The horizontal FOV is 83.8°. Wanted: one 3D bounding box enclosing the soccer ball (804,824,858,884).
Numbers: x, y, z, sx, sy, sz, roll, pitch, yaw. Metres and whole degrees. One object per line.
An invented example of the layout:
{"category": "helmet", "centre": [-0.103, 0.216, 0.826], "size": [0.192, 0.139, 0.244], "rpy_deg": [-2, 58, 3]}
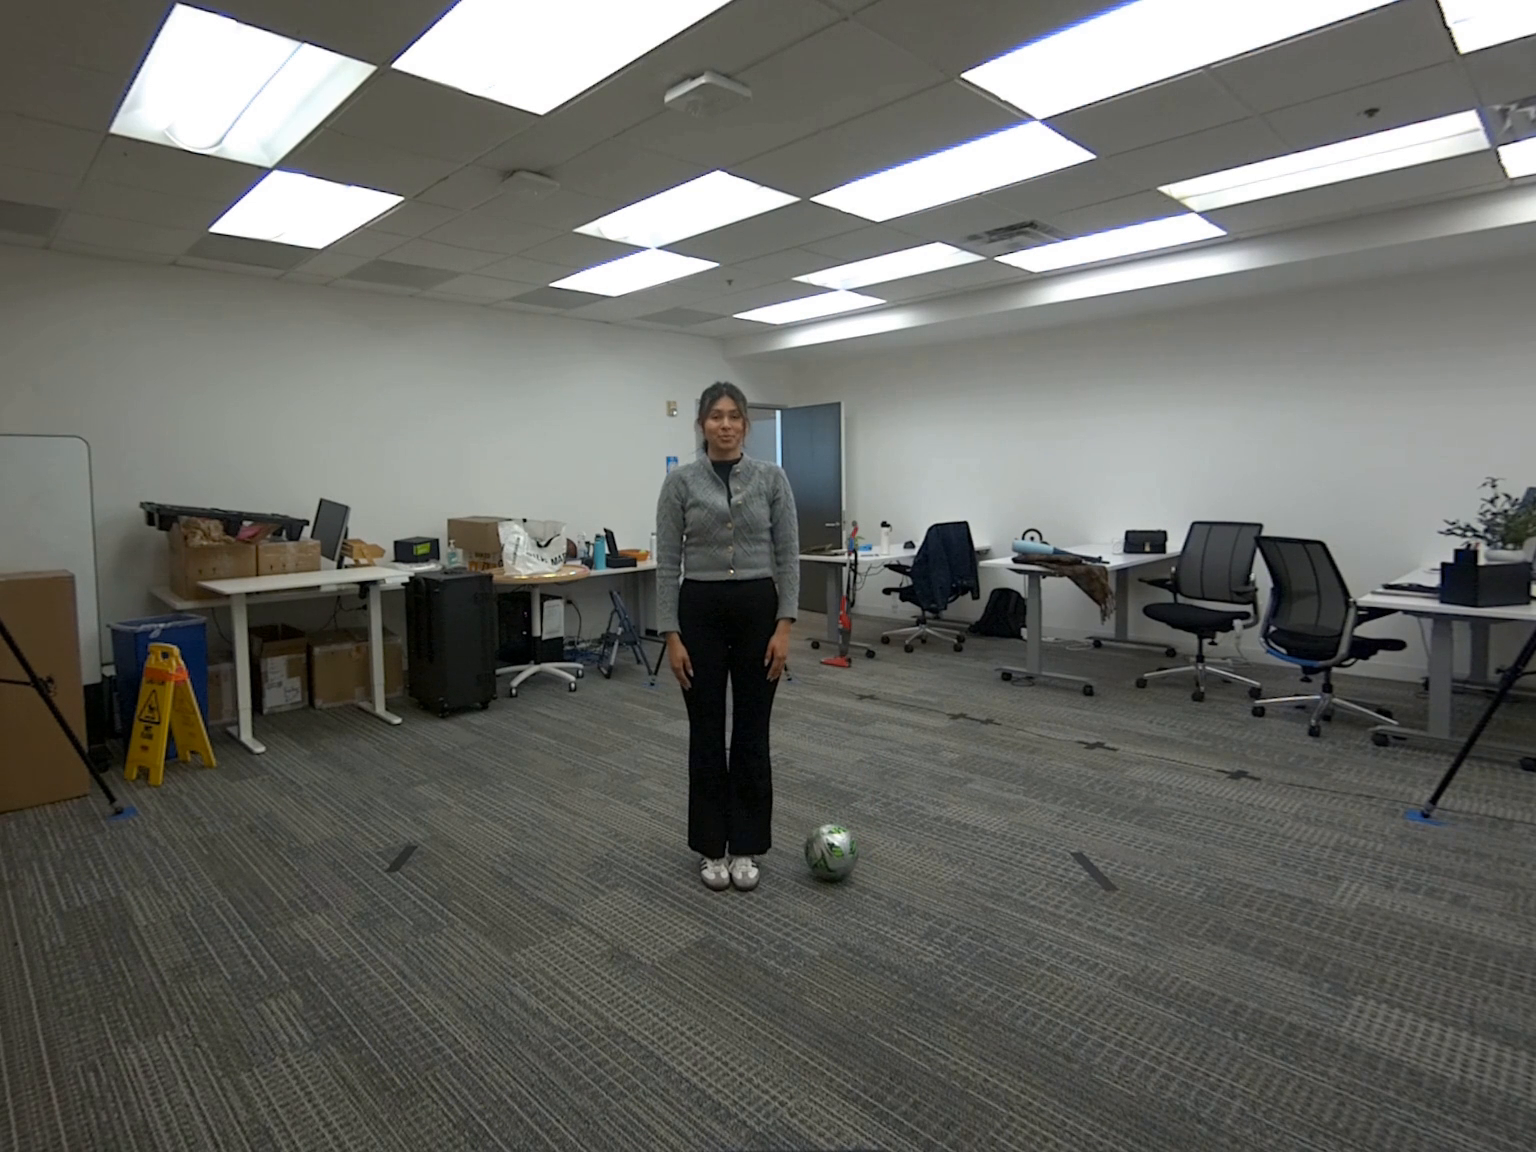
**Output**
{"category": "soccer ball", "centre": [0.218, 0.958, 2.978], "size": [0.187, 0.187, 0.188], "rpy_deg": [-1, 5, -2]}
